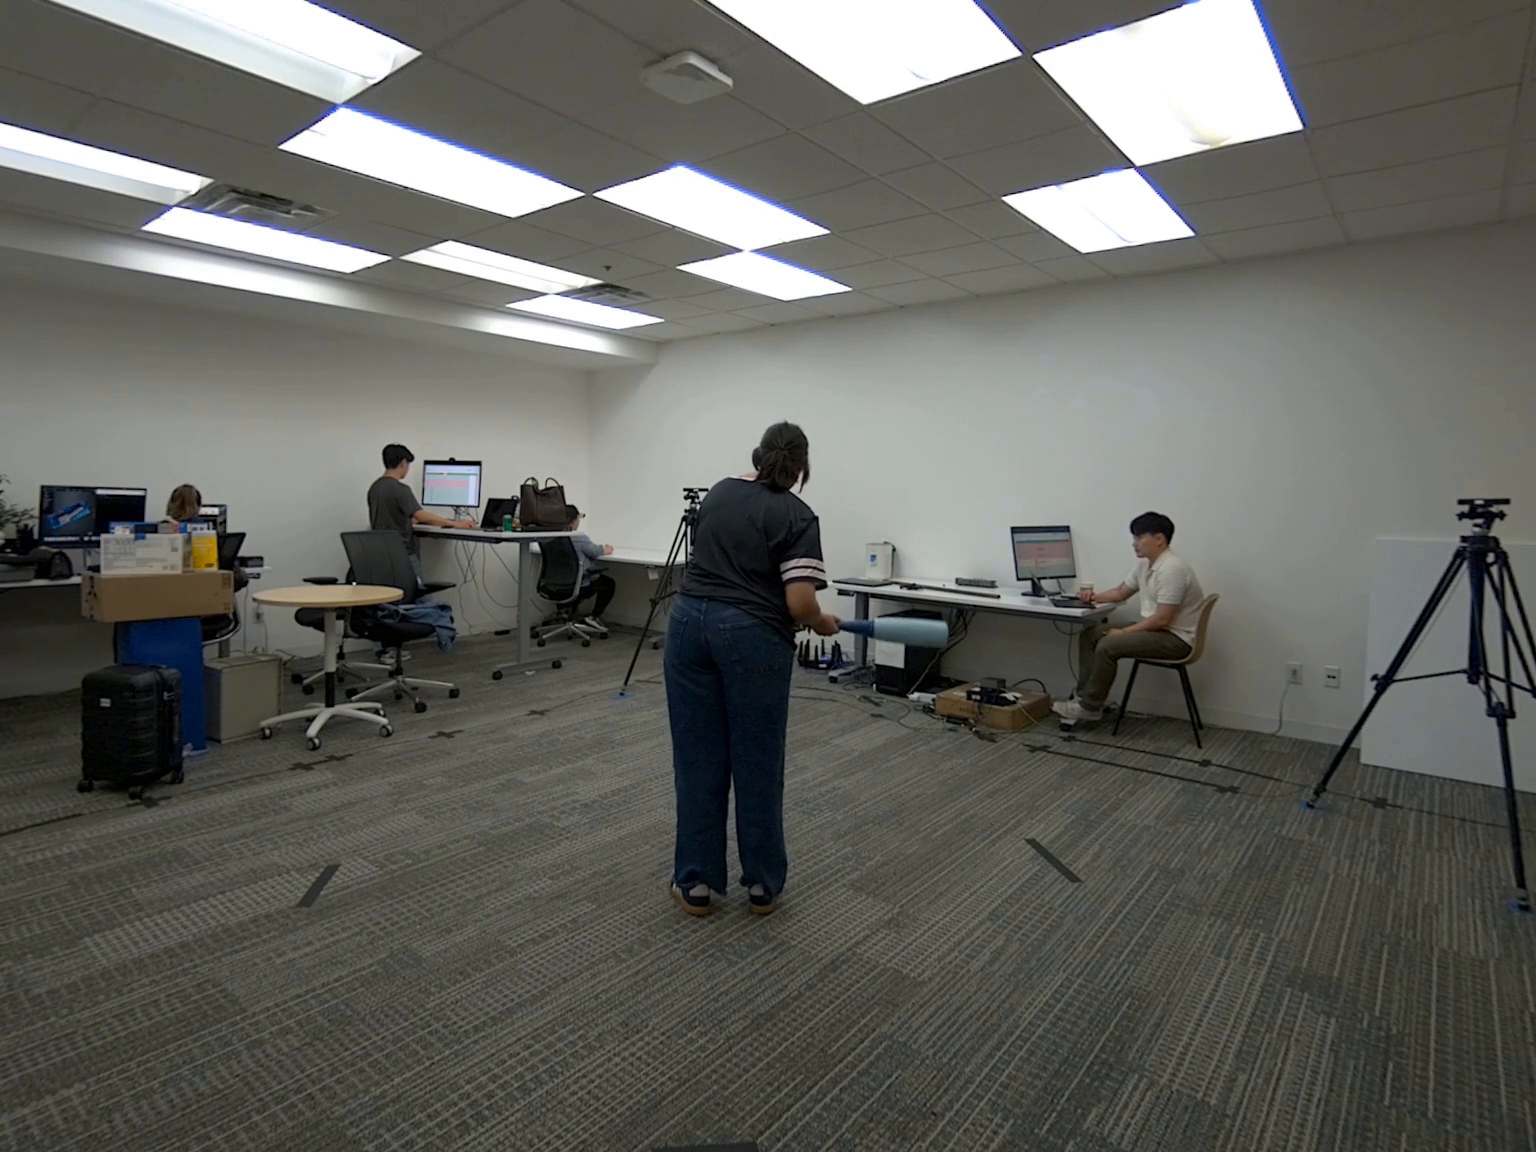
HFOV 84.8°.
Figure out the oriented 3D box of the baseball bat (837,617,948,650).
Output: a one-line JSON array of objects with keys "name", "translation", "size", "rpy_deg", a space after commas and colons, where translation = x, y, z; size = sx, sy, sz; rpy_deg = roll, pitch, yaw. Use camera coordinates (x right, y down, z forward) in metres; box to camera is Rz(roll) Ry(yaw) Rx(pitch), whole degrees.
[{"name": "baseball bat", "translation": [0.314, 0.182, 2.940], "size": [0.547, 0.089, 0.089], "rpy_deg": [4, 4, 6]}]
